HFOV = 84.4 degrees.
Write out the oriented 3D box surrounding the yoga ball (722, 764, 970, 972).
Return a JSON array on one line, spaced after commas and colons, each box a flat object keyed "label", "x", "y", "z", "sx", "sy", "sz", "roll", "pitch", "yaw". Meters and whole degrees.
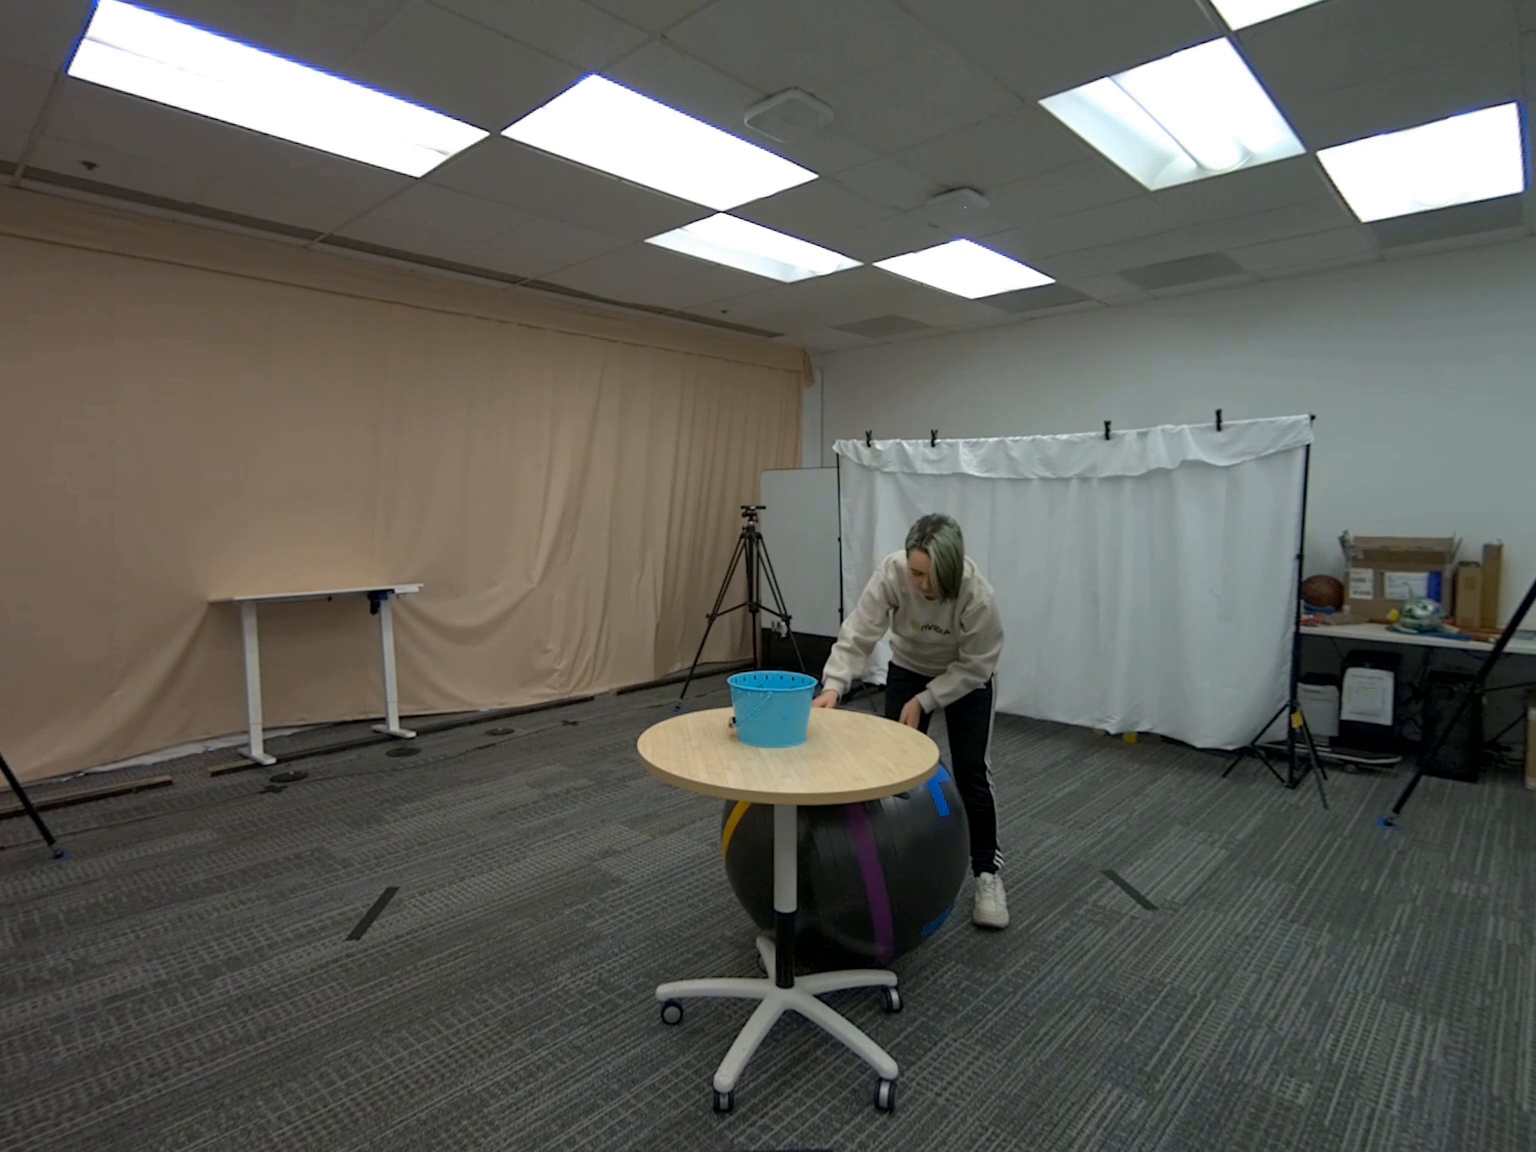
[{"label": "yoga ball", "x": 0.235, "y": 0.803, "z": 2.621, "sx": 0.757, "sy": 0.756, "sz": 0.761, "roll": 0, "pitch": 4, "yaw": -2}]
